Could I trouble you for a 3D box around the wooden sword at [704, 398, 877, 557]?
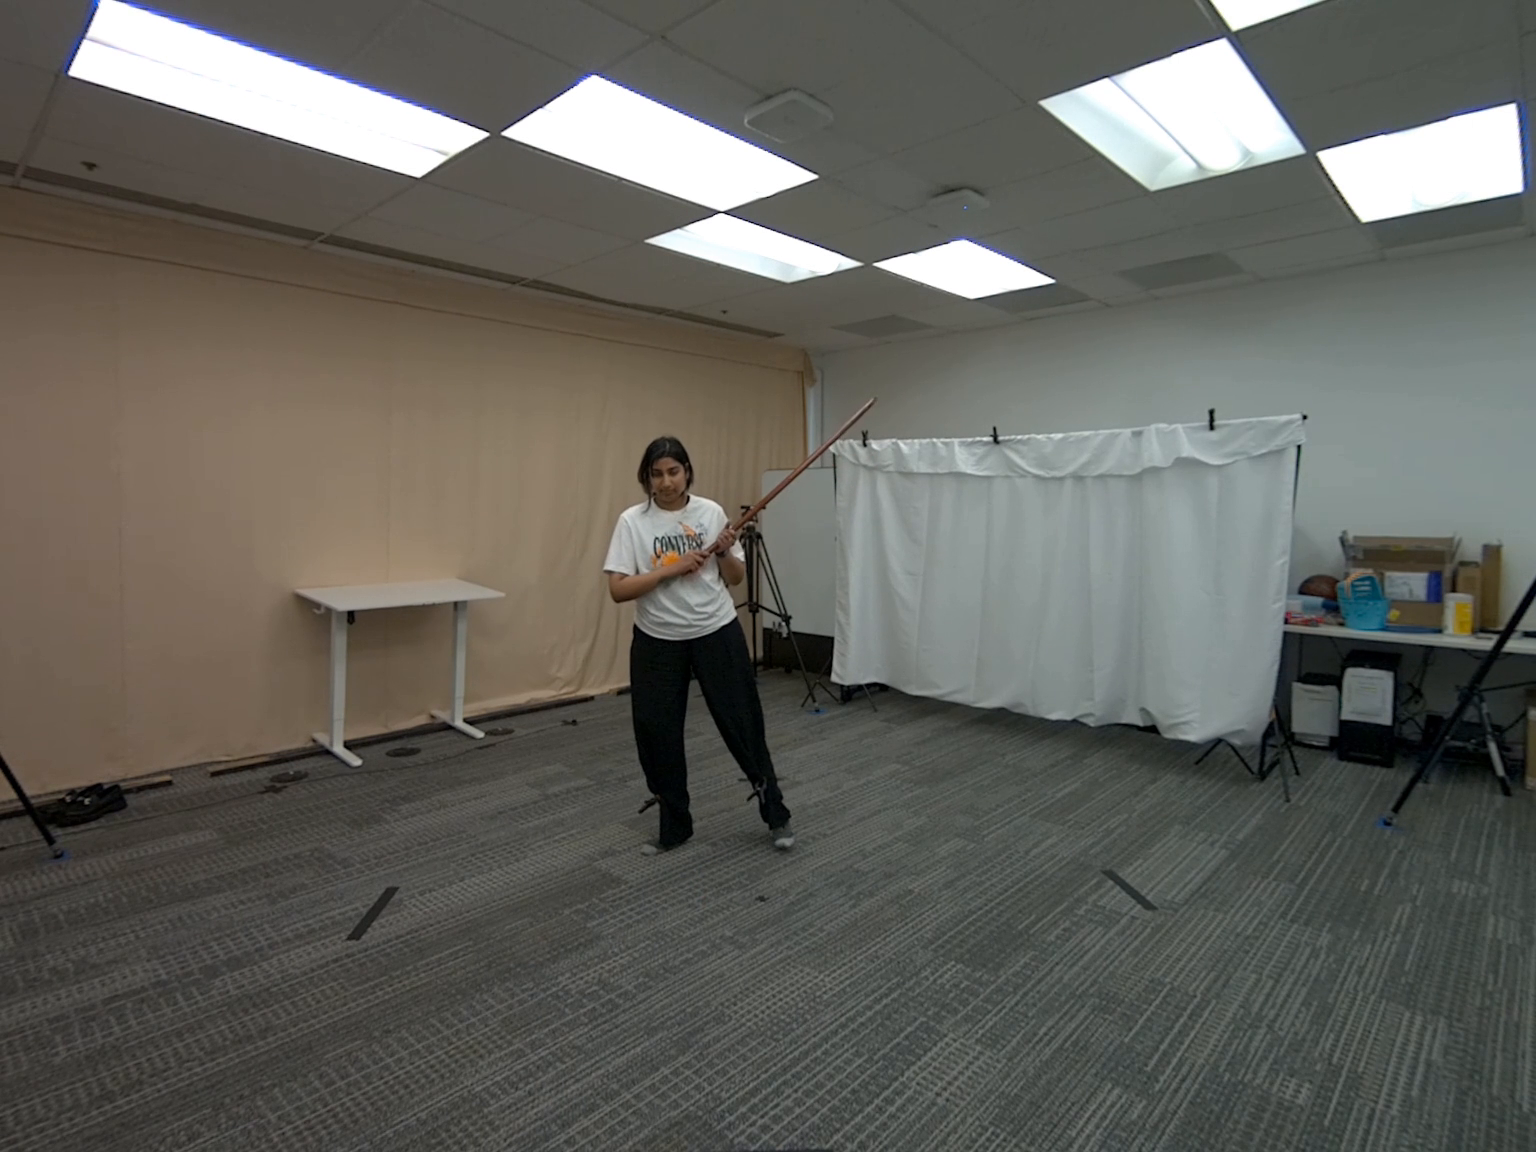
[{"bbox_3d":[0.090,-0.372,3.242,0.023,1.023,0.053,51,-6,-35],"label":"wooden sword"}]
